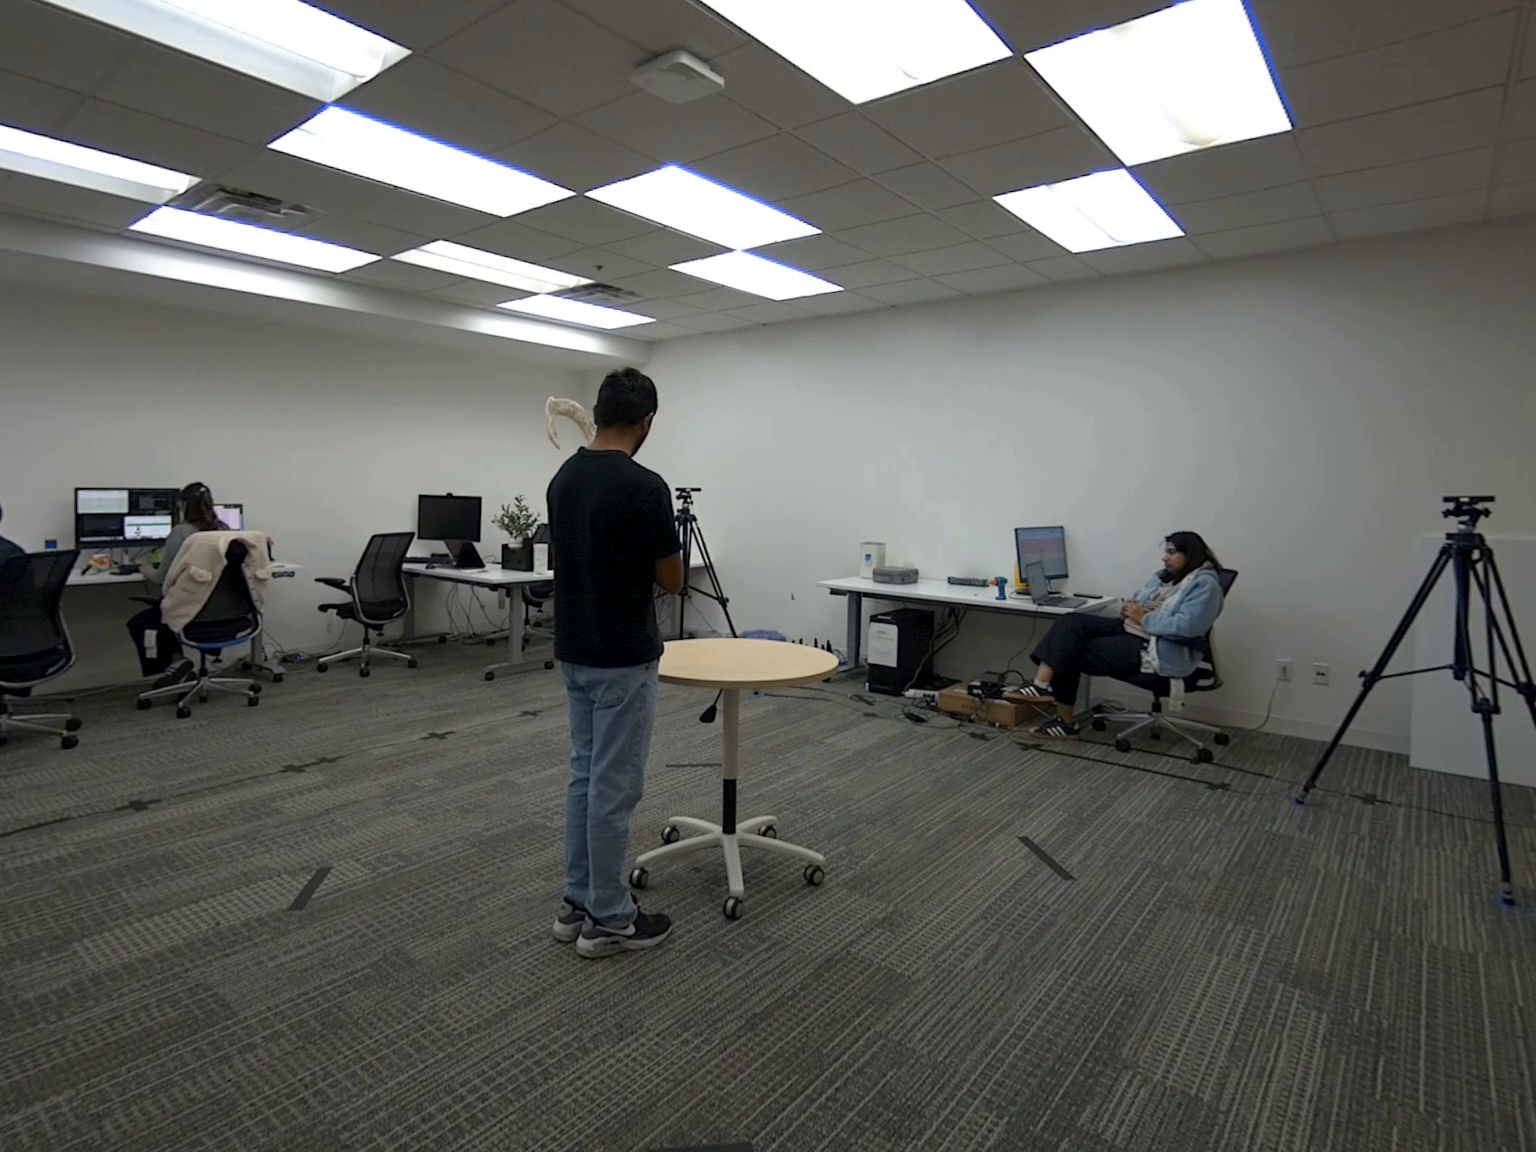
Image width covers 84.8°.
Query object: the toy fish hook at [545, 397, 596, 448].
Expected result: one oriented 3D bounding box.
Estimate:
[{"bbox_3d":[-0.599,-0.345,2.760,0.049,0.517,0.218,-34,-19,36],"label":"toy fish hook"}]
